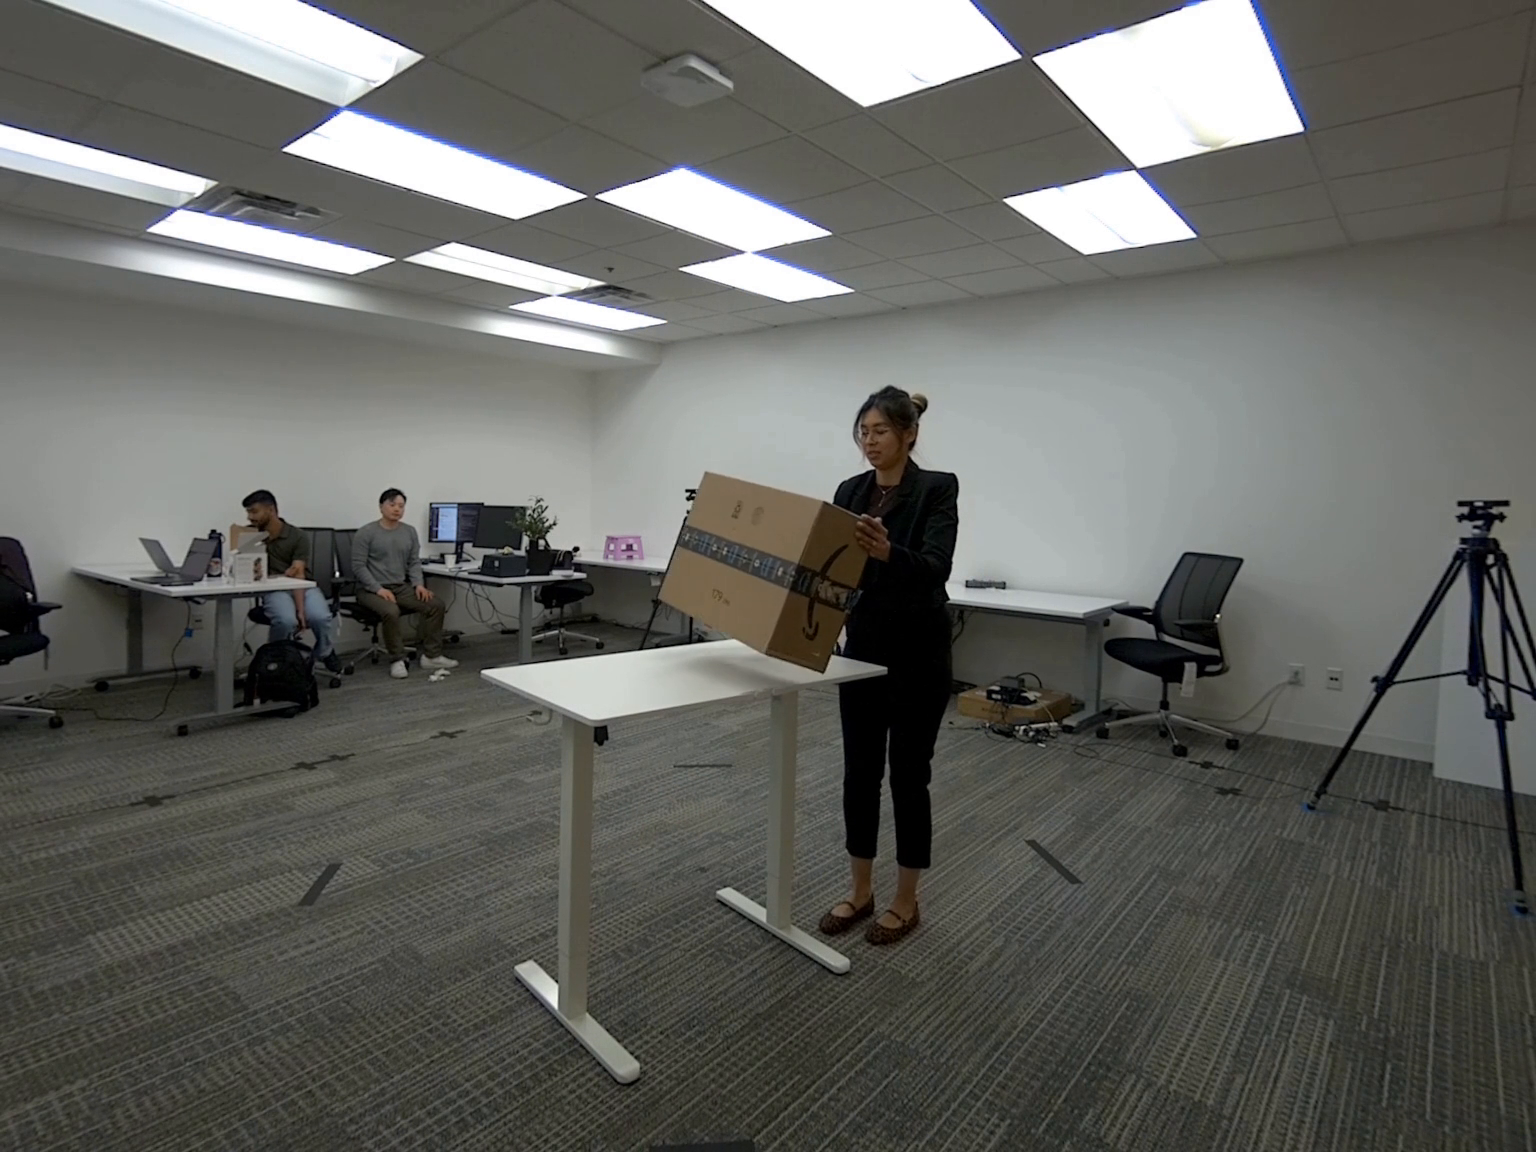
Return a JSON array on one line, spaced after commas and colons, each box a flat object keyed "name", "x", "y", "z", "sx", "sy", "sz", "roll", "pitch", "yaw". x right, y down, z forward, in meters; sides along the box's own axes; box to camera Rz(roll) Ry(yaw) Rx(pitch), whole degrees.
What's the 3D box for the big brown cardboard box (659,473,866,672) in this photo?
[{"name": "big brown cardboard box", "x": -0.019, "y": -0.031, "z": 2.410, "sx": 0.224, "sy": 0.418, "sz": 0.612, "roll": 22, "pitch": -1, "yaw": -38}]
